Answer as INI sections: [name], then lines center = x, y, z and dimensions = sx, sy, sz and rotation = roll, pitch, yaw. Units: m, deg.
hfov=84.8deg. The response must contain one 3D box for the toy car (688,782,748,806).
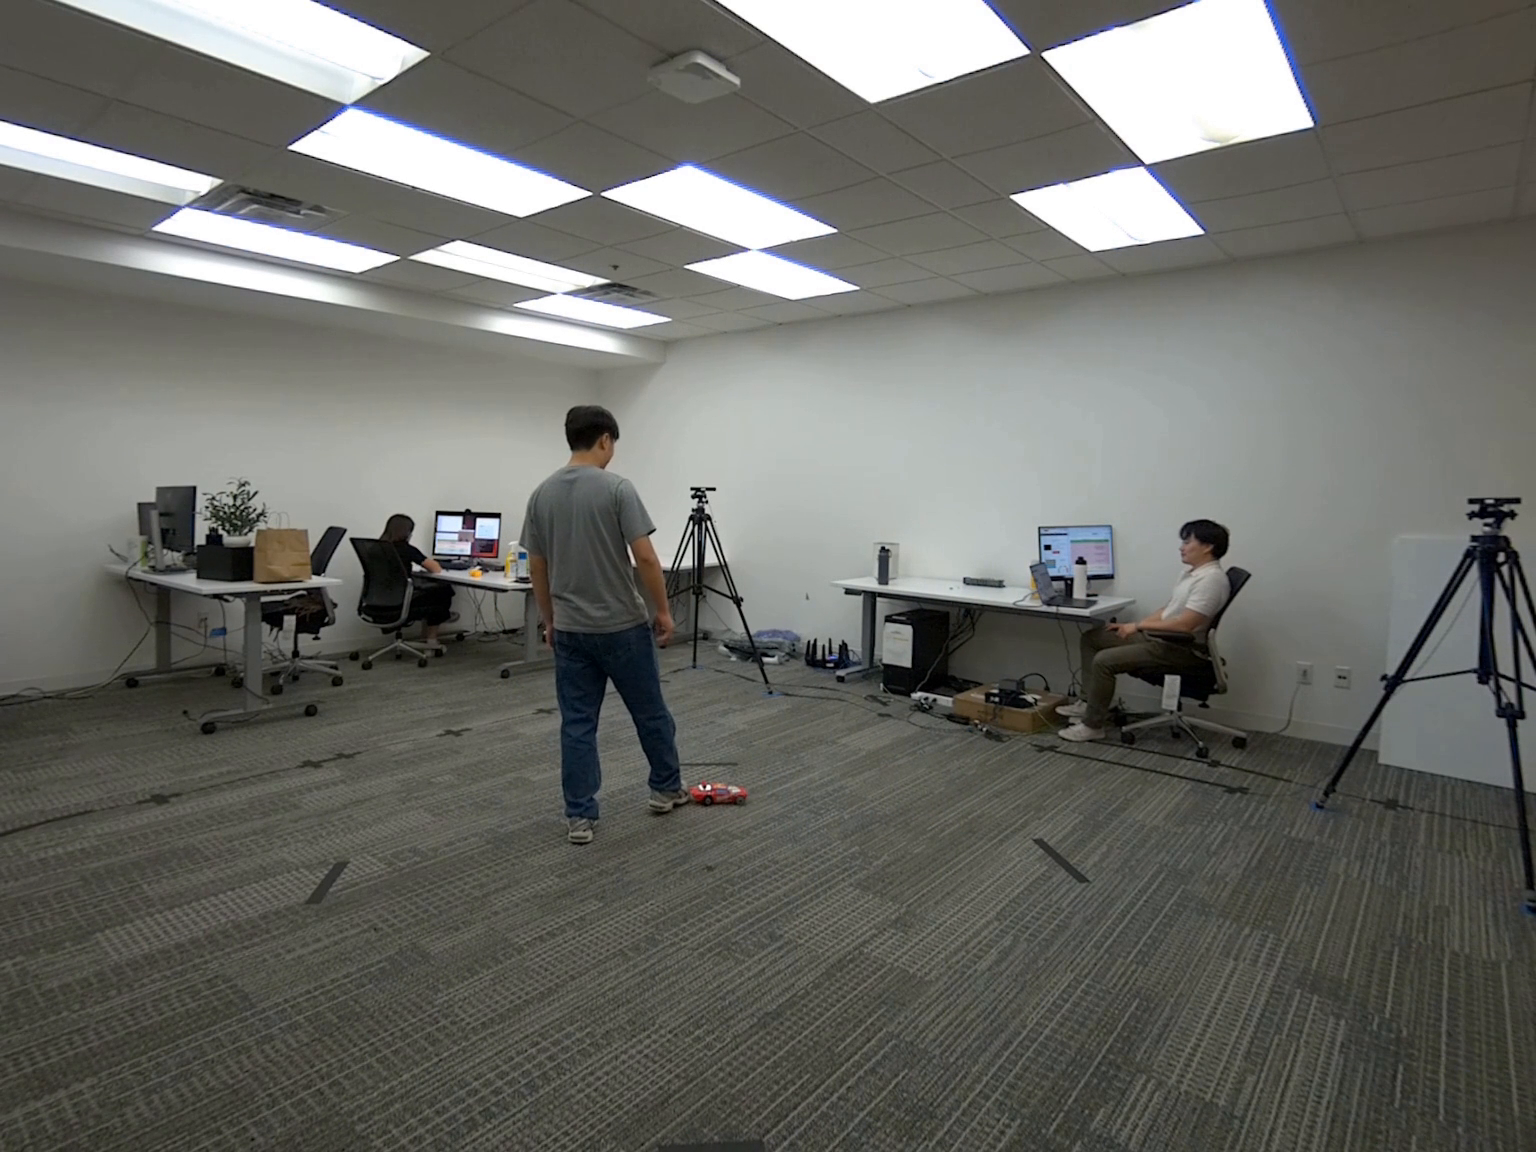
[toy car]
center = -0.238, 0.972, 3.780
dimensions = 0.252, 0.083, 0.132
rotation = 11, 3, -8
